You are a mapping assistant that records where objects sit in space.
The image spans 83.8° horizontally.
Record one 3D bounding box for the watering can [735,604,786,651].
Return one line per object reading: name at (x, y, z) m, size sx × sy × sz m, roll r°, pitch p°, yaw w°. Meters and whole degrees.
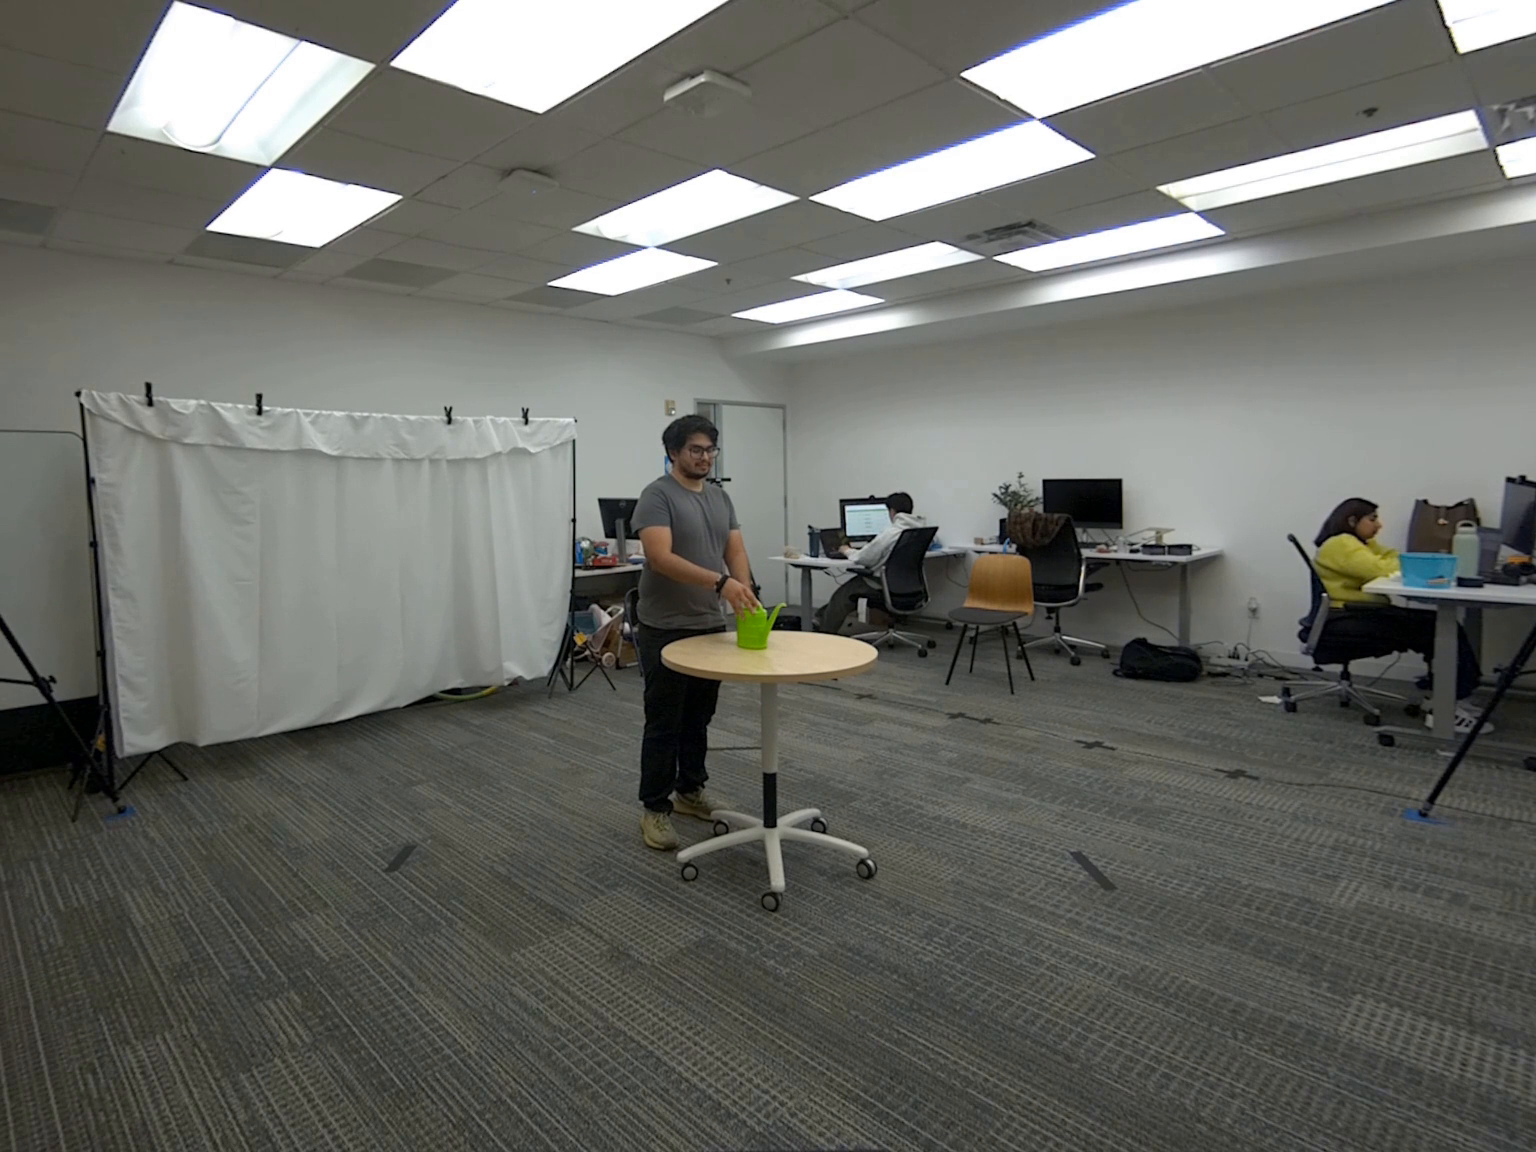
watering can at (-0.035, 0.177, 3.063) m, size 0.096 × 0.176 × 0.285 m, roll -4°, pitch 4°, yaw -25°
